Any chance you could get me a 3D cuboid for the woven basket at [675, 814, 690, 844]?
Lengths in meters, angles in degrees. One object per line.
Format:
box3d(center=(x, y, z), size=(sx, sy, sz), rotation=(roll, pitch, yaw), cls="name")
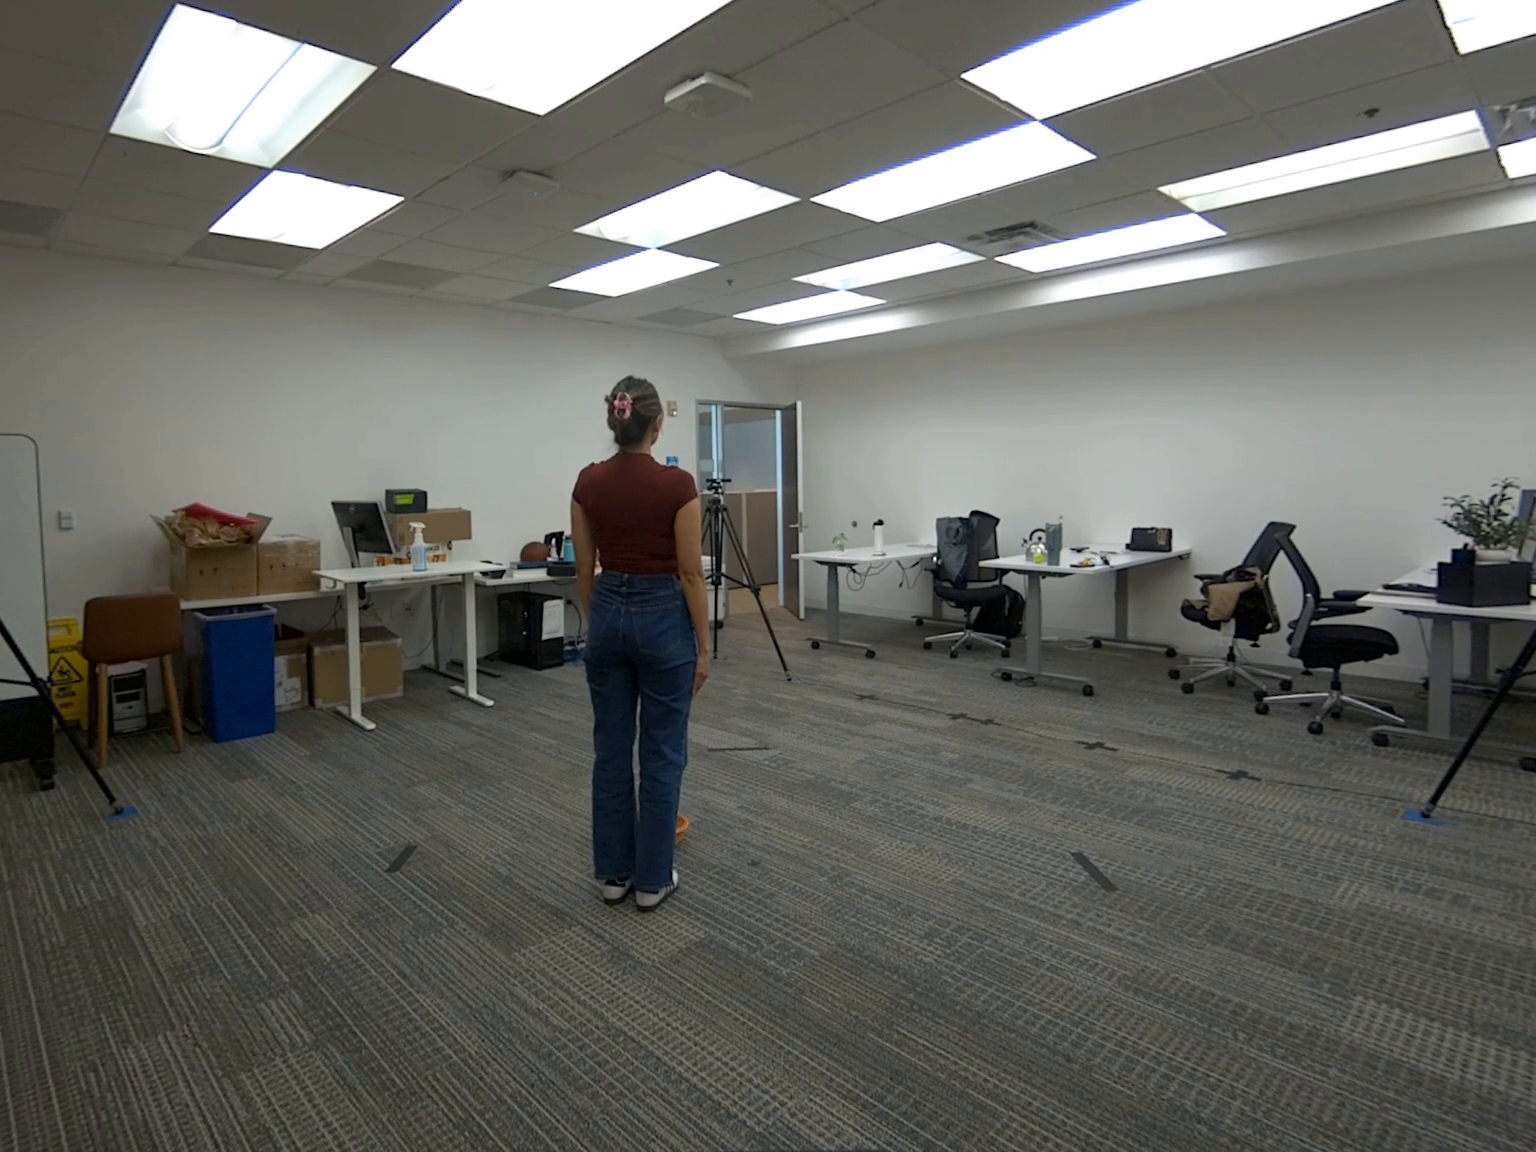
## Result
box3d(center=(-0.469, 1.004, 3.330), size=(0.356, 0.073, 0.249), rotation=(1, 4, 16), cls="woven basket")
